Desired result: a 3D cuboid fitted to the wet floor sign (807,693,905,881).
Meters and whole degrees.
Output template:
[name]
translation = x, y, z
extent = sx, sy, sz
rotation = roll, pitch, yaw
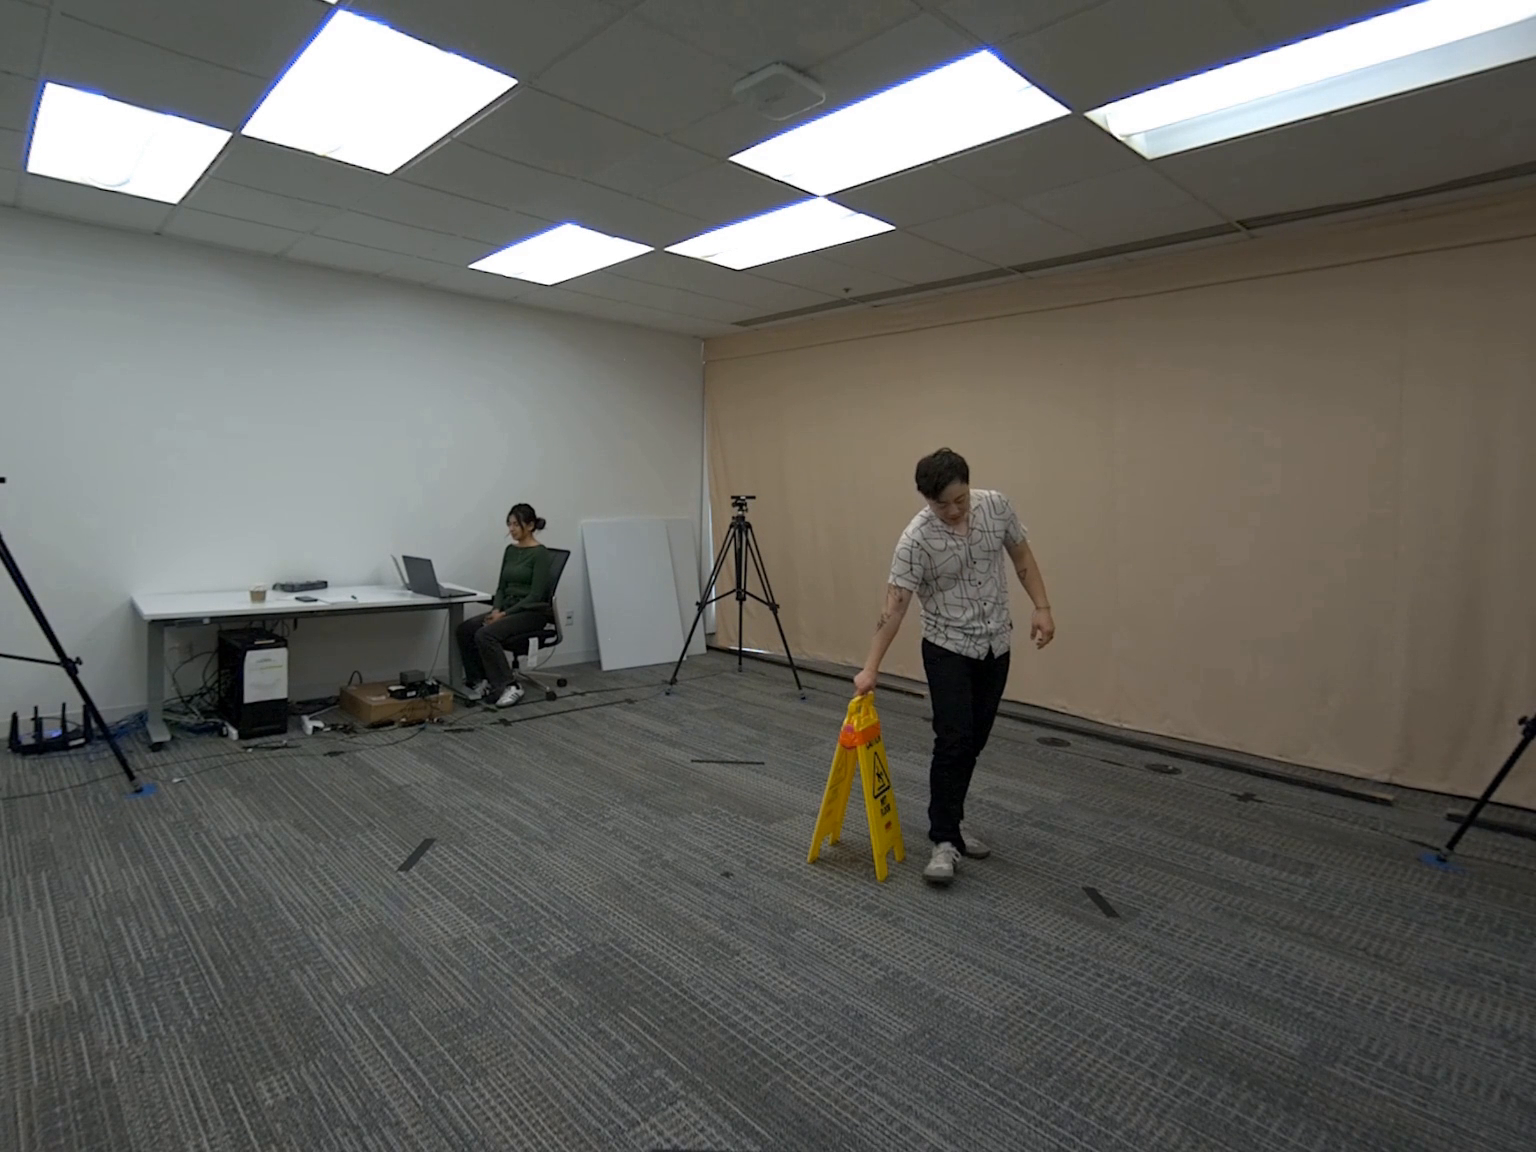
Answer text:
[wet floor sign]
translation = 0.341, 0.777, 3.242
extent = 0.296, 0.645, 0.277
rotation = 2, 2, 29
